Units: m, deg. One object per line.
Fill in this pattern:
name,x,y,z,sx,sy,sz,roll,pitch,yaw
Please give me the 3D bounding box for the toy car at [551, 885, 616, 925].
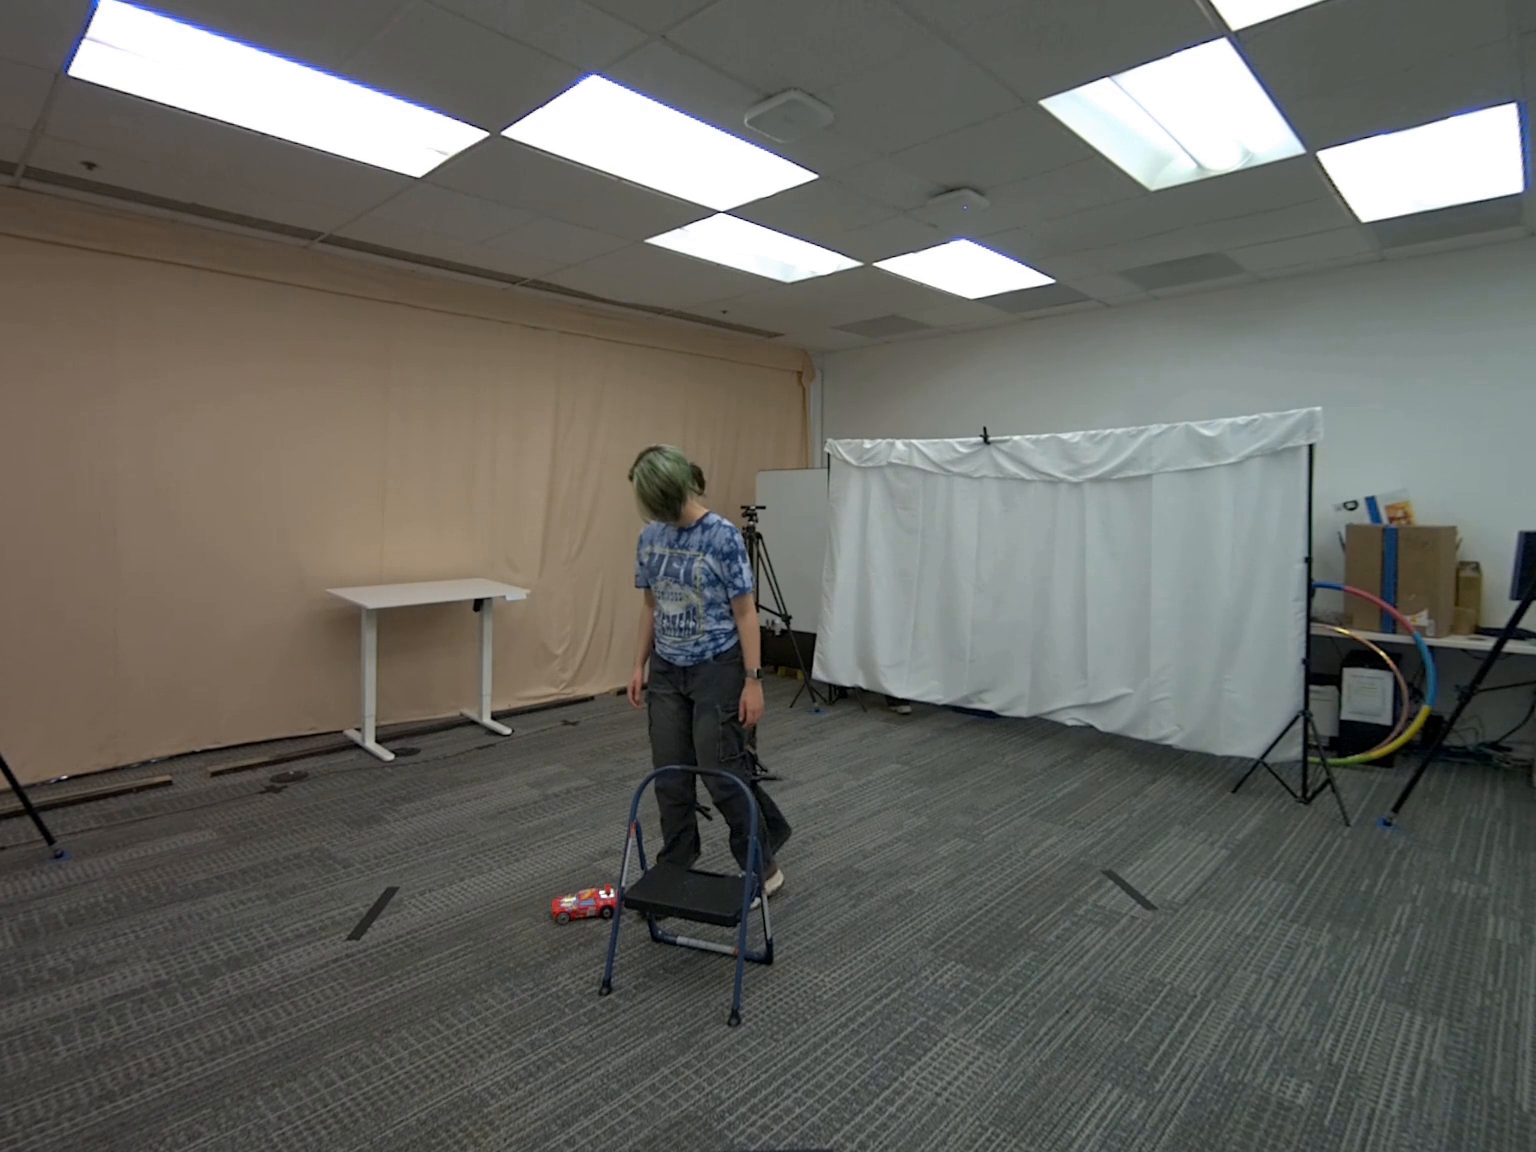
toy car,-0.614,1.125,2.879,0.252,0.083,0.132,-12,7,-12
